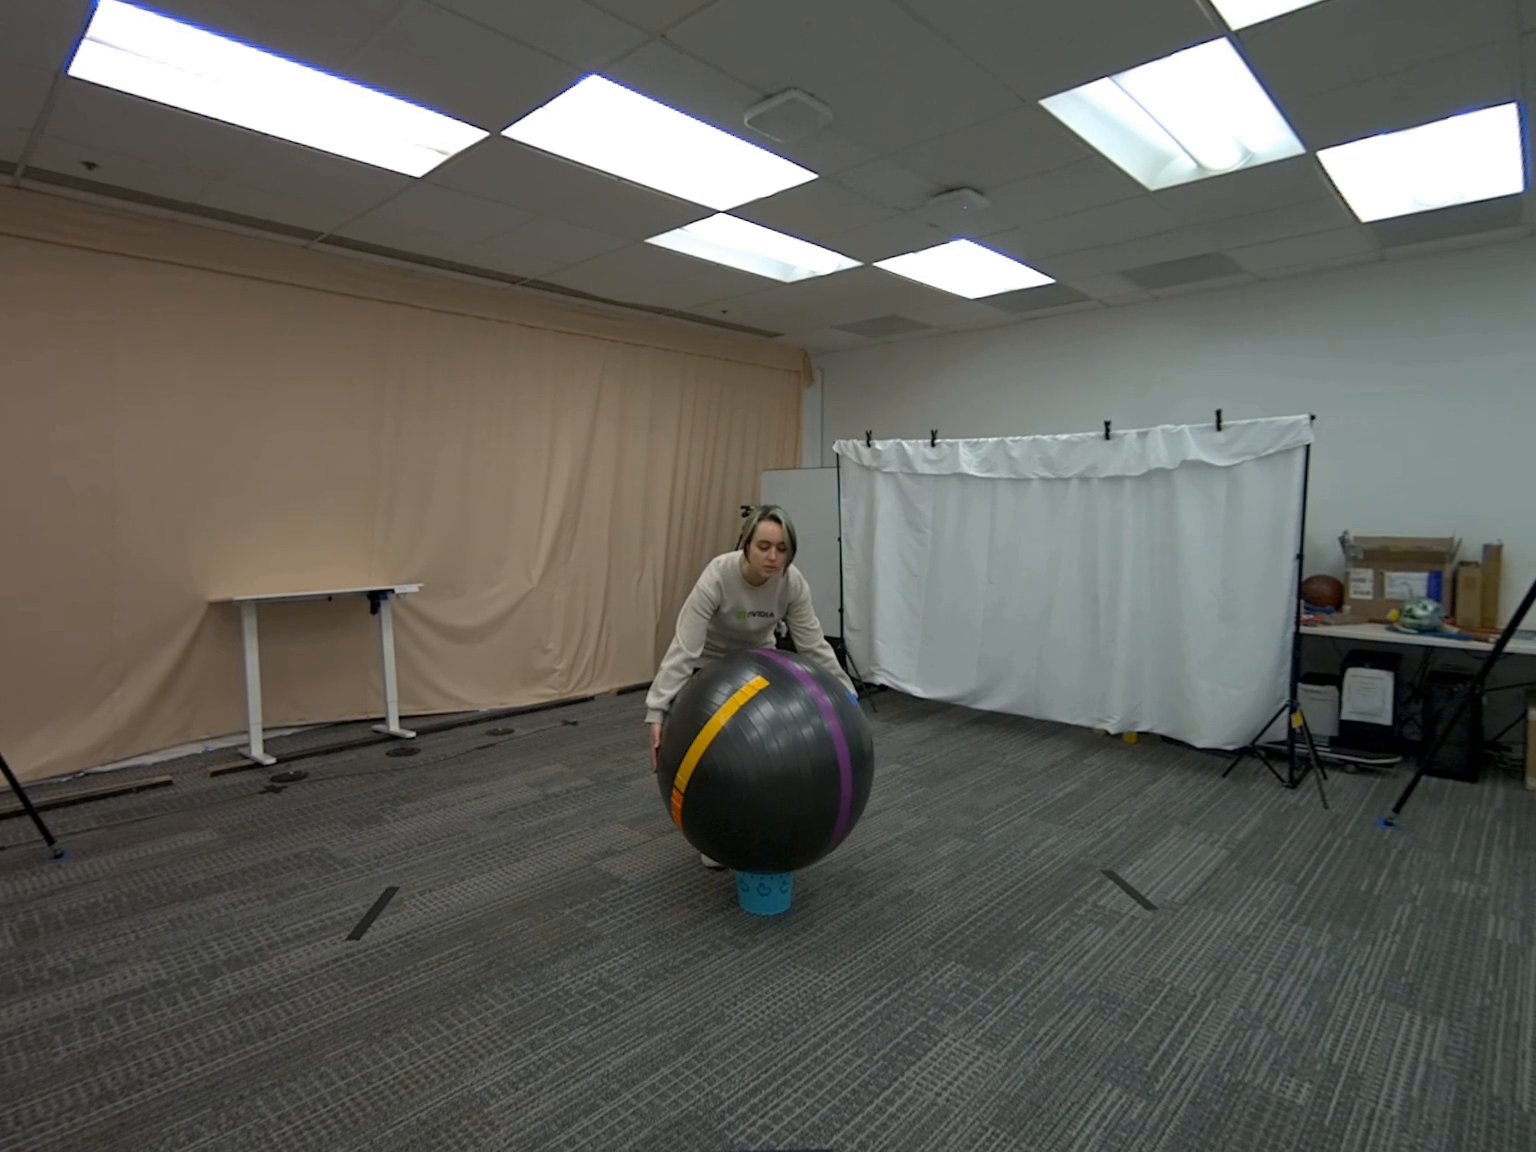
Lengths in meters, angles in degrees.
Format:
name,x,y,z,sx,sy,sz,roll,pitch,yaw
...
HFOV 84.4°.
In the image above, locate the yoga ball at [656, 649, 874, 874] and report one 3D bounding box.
name,x,y,z,sx,sy,sz,roll,pitch,yaw
yoga ball,-0.012,0.635,2.929,0.757,0.756,0.760,0,4,-2
